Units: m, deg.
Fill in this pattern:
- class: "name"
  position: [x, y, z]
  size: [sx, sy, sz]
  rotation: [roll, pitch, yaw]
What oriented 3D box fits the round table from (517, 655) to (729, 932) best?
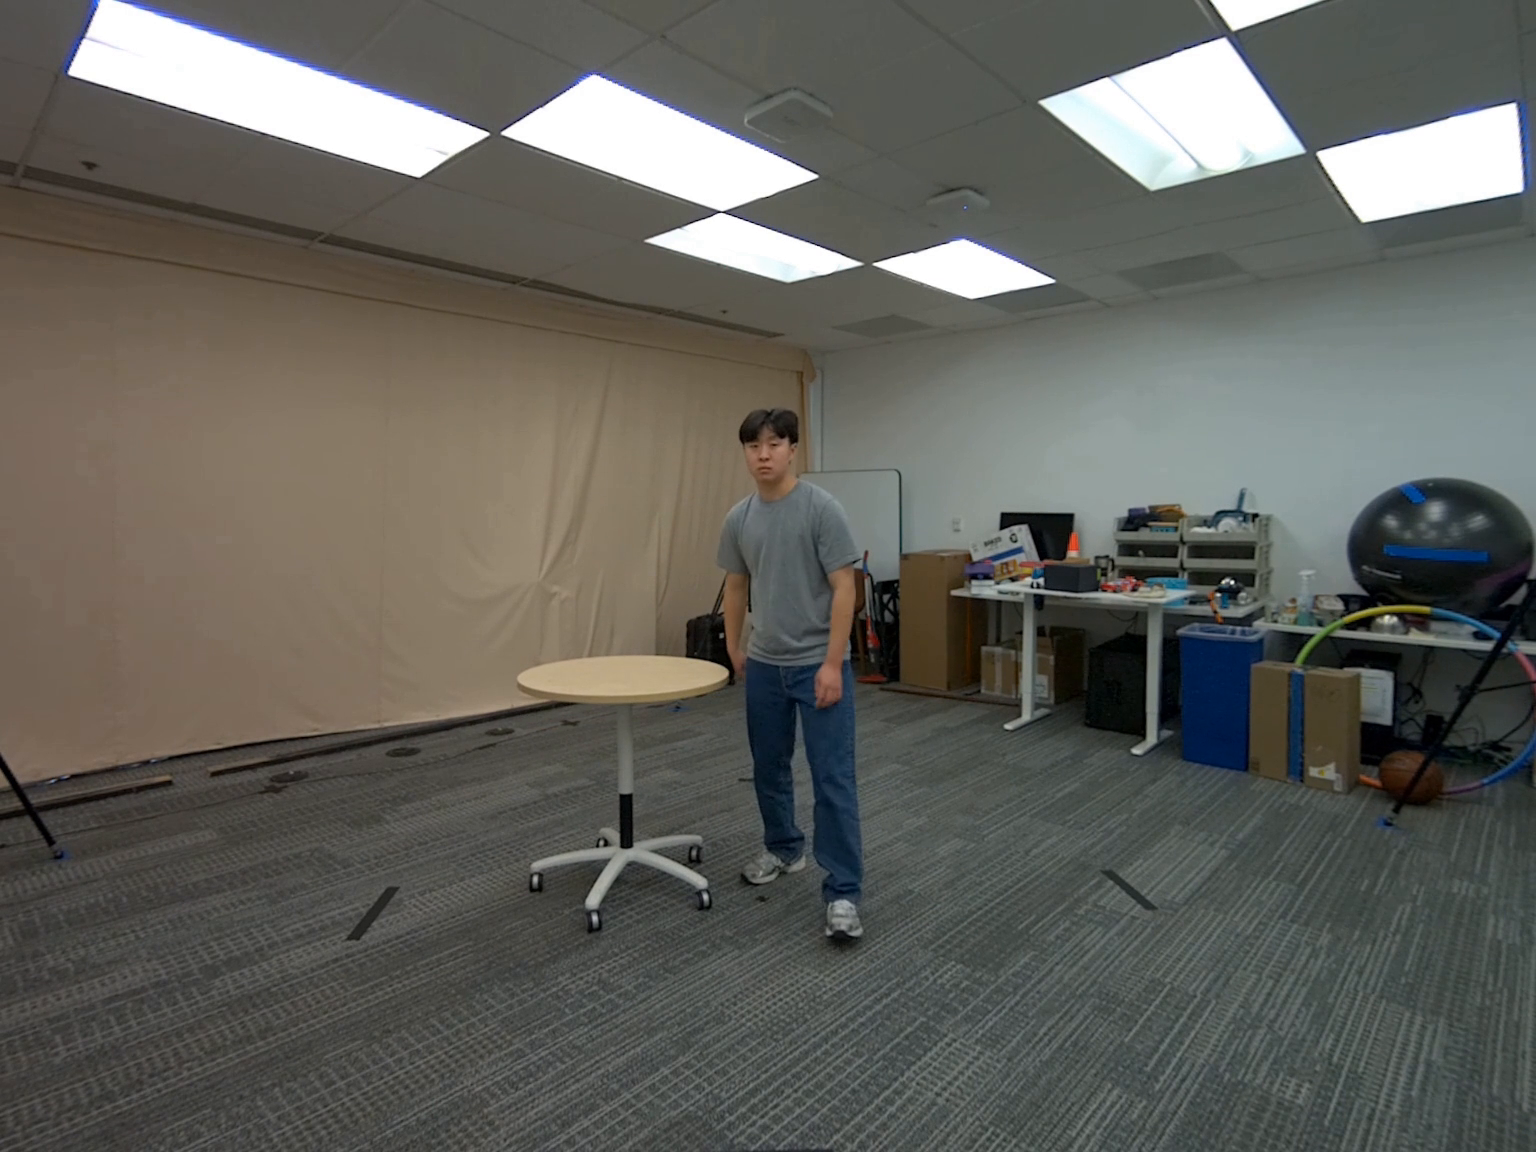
- class: "round table"
  position: [-0.519, 0.752, 3.093]
  size: [0.763, 0.792, 0.766]
  rotation: [-1, 3, -2]
